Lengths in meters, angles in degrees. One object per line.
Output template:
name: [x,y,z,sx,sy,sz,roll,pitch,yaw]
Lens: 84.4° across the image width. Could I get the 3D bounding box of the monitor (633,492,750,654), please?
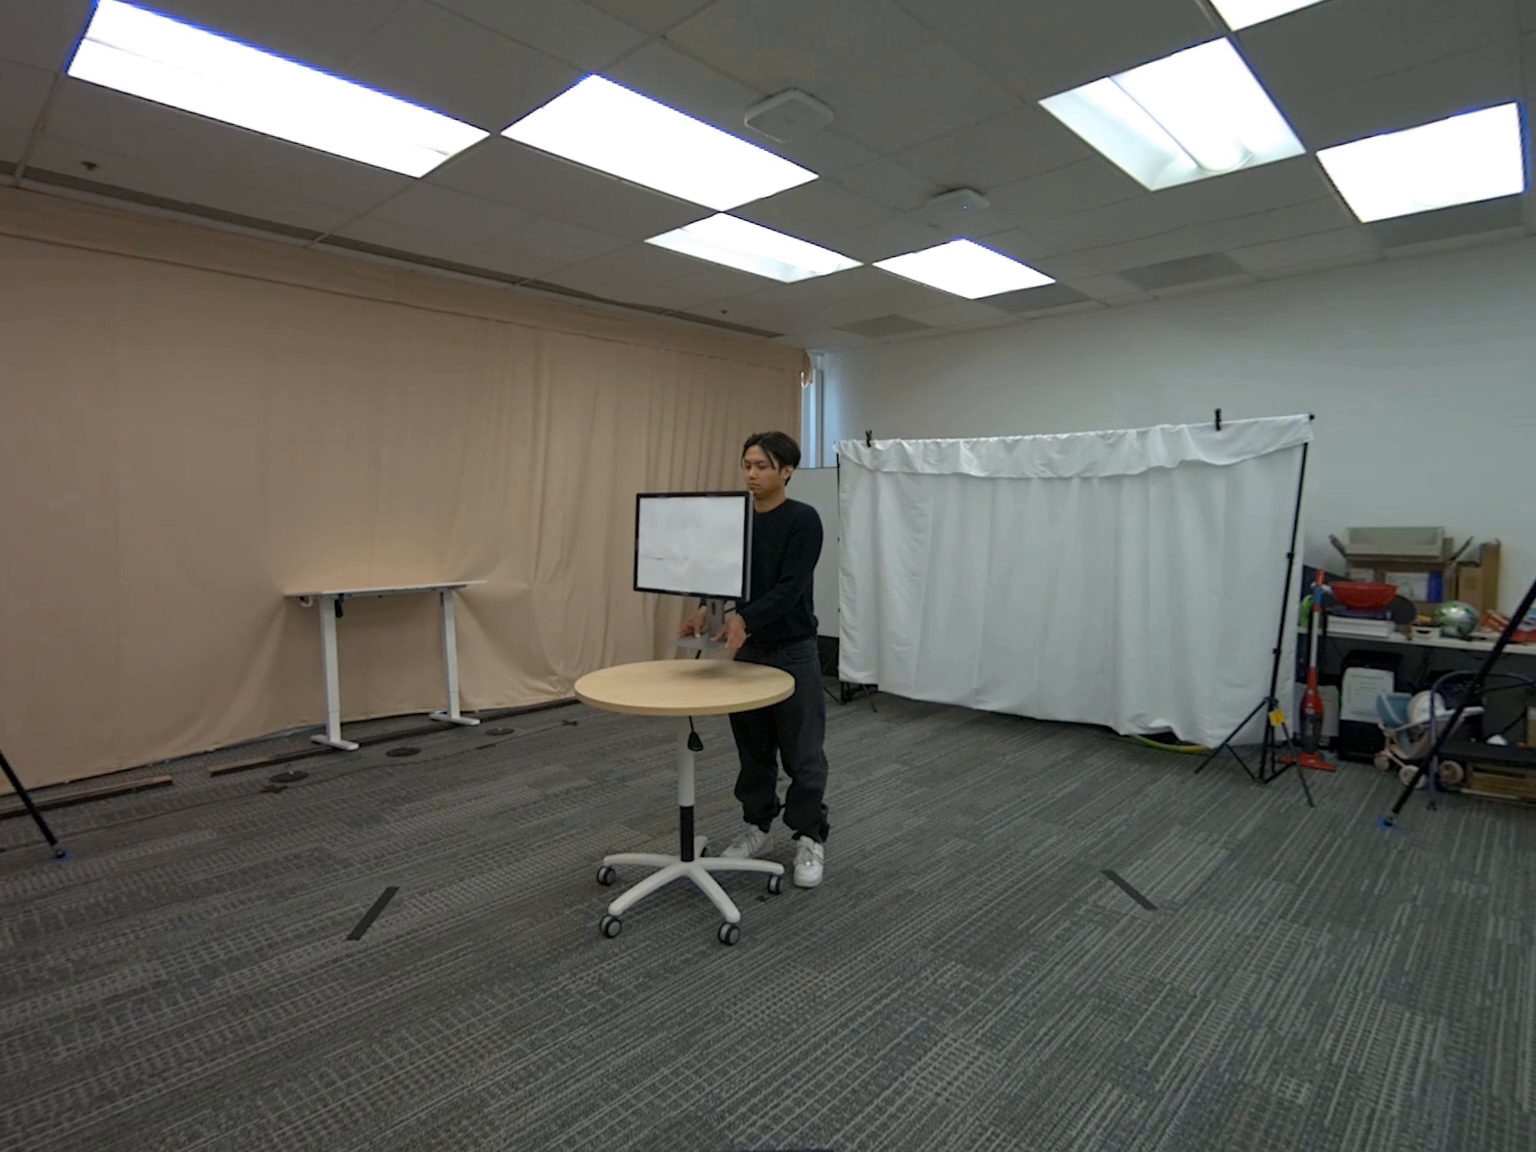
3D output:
monitor: [-0.241,-0.029,2.978,0.557,0.519,0.182,3,12,40]
